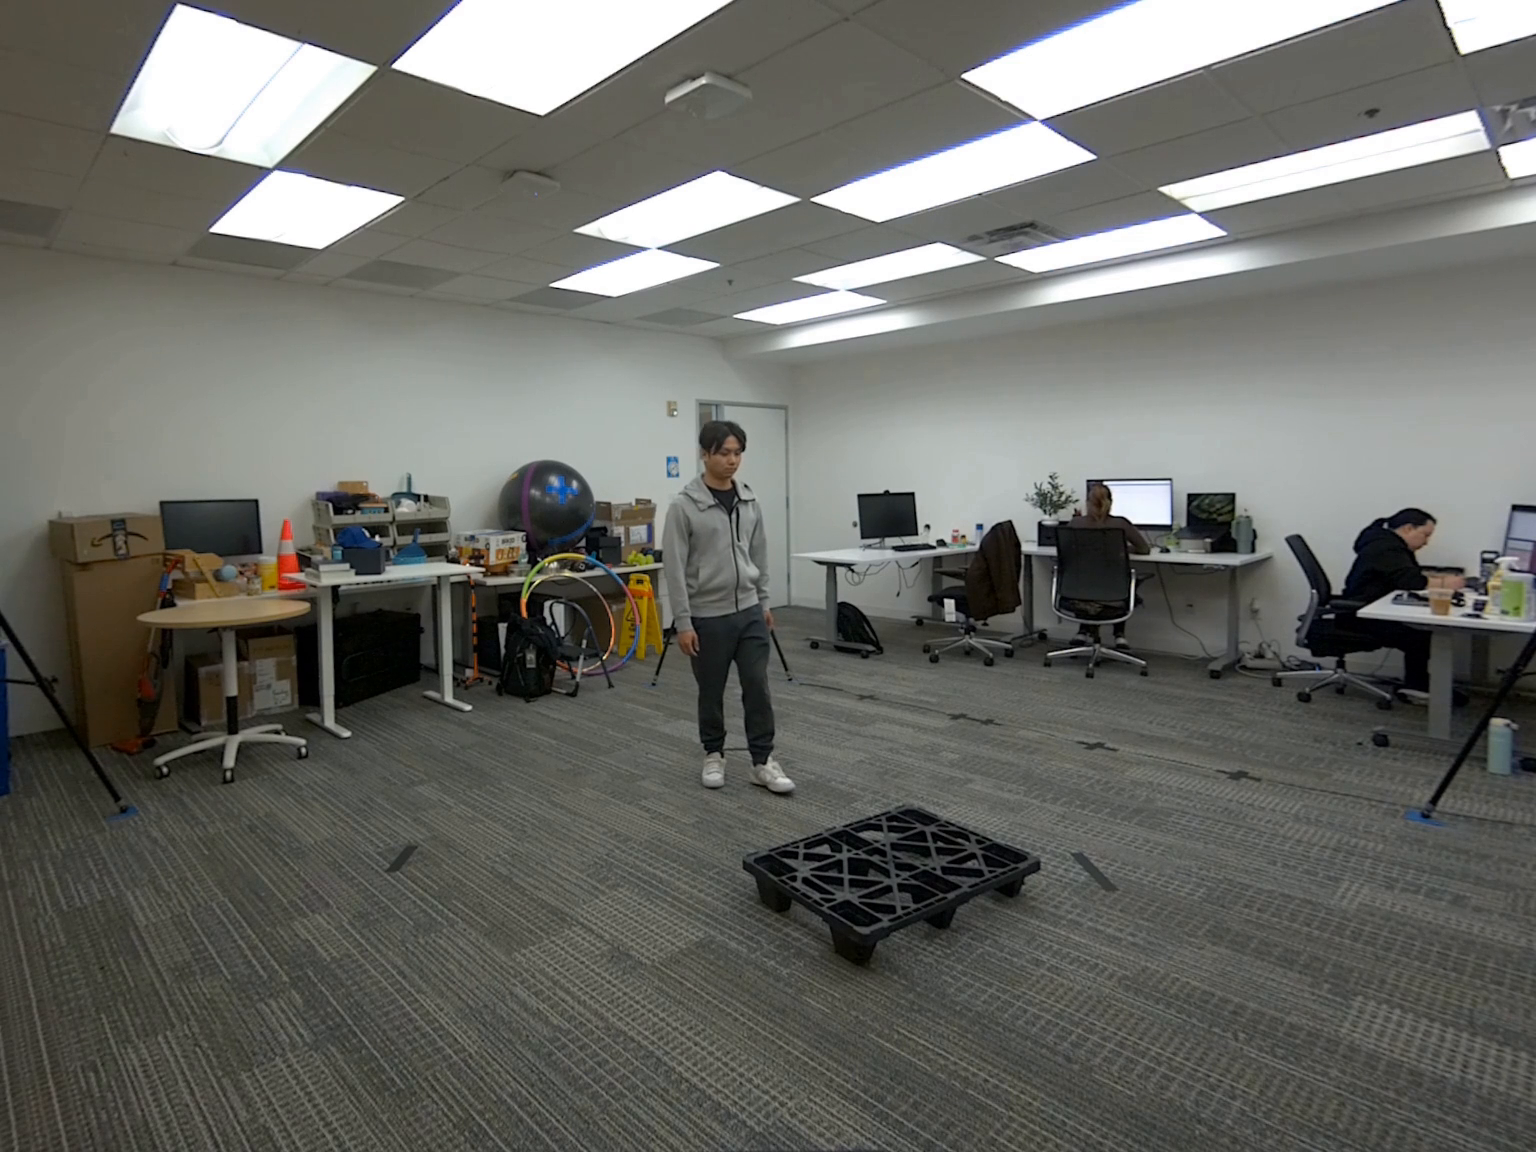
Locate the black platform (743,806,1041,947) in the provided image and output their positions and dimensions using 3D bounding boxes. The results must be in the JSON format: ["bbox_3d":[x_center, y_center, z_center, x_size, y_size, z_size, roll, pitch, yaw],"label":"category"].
[{"bbox_3d":[0.407,1.005,2.832,0.785,0.143,0.623,-6,7,-35],"label":"black platform"}]
